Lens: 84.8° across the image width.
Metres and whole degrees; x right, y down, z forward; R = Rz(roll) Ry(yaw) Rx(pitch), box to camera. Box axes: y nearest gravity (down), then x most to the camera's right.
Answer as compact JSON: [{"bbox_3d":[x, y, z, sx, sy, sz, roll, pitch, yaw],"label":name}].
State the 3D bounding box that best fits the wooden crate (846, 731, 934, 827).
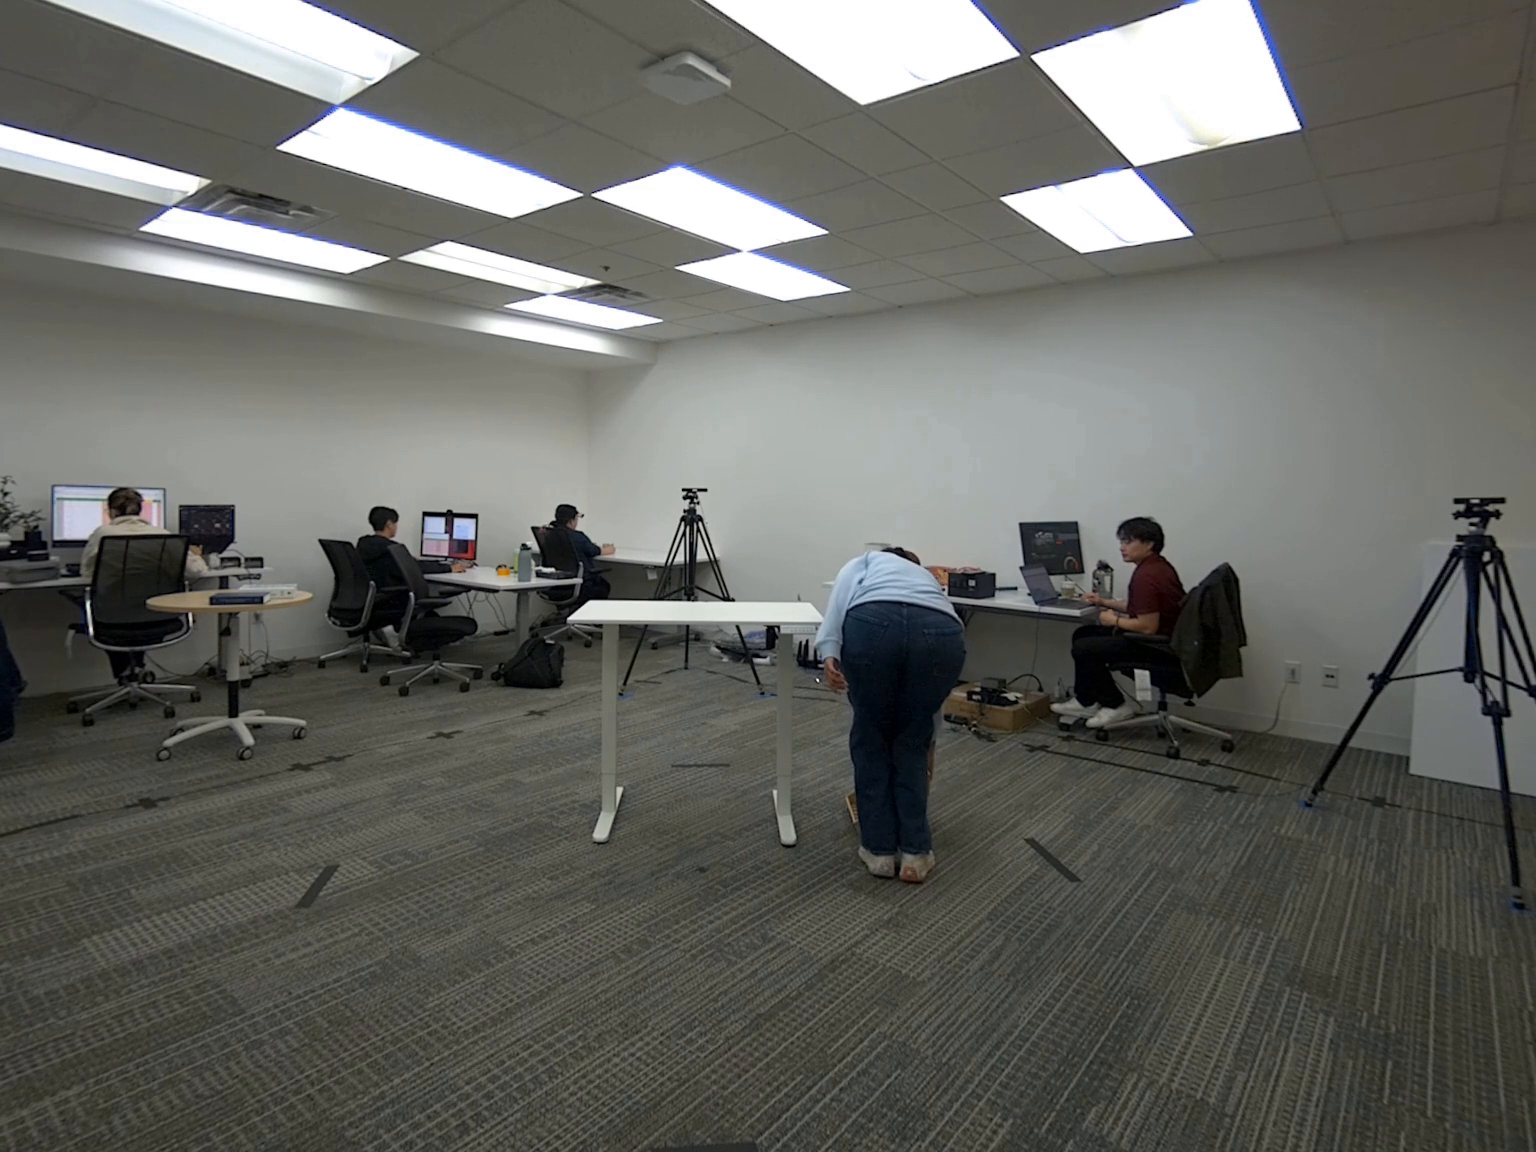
[{"bbox_3d":[0.476,0.891,3.592,0.302,0.272,0.325,3,4,-1],"label":"wooden crate"}]
